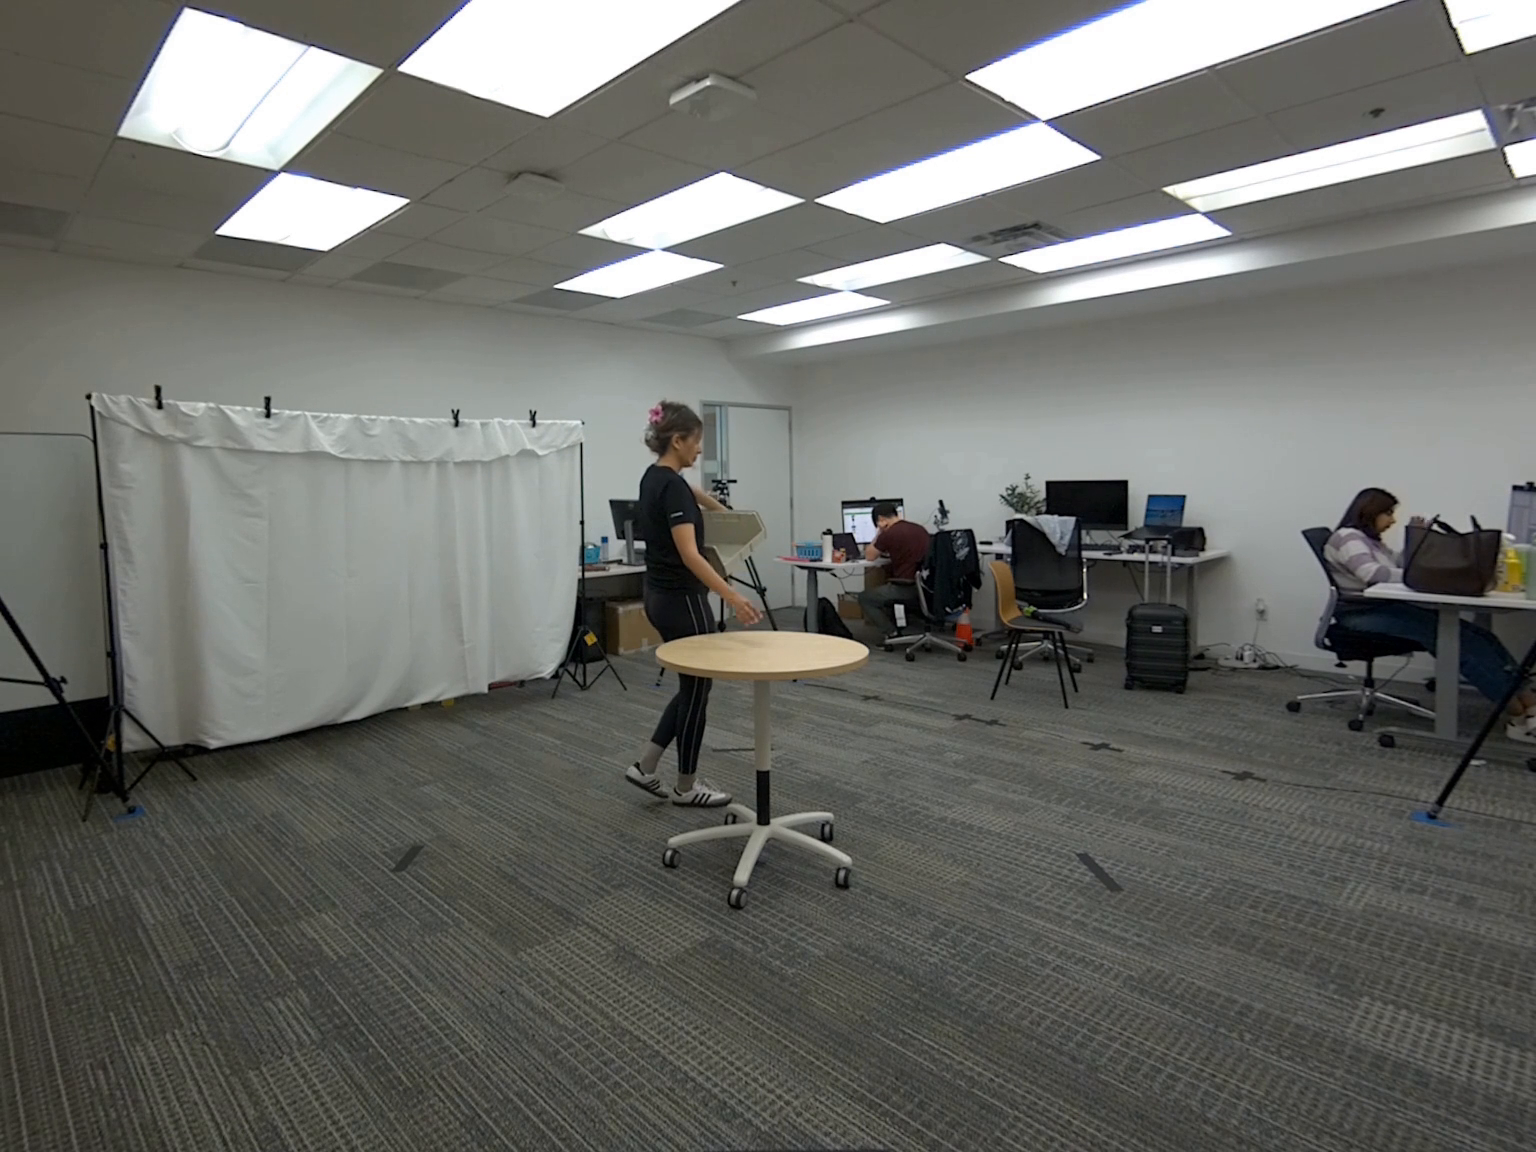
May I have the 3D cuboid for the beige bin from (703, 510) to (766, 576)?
[{"bbox_3d":[-0.262,-0.140,3.878,0.387,0.185,0.421,1,26,28],"label":"beige bin"}]
